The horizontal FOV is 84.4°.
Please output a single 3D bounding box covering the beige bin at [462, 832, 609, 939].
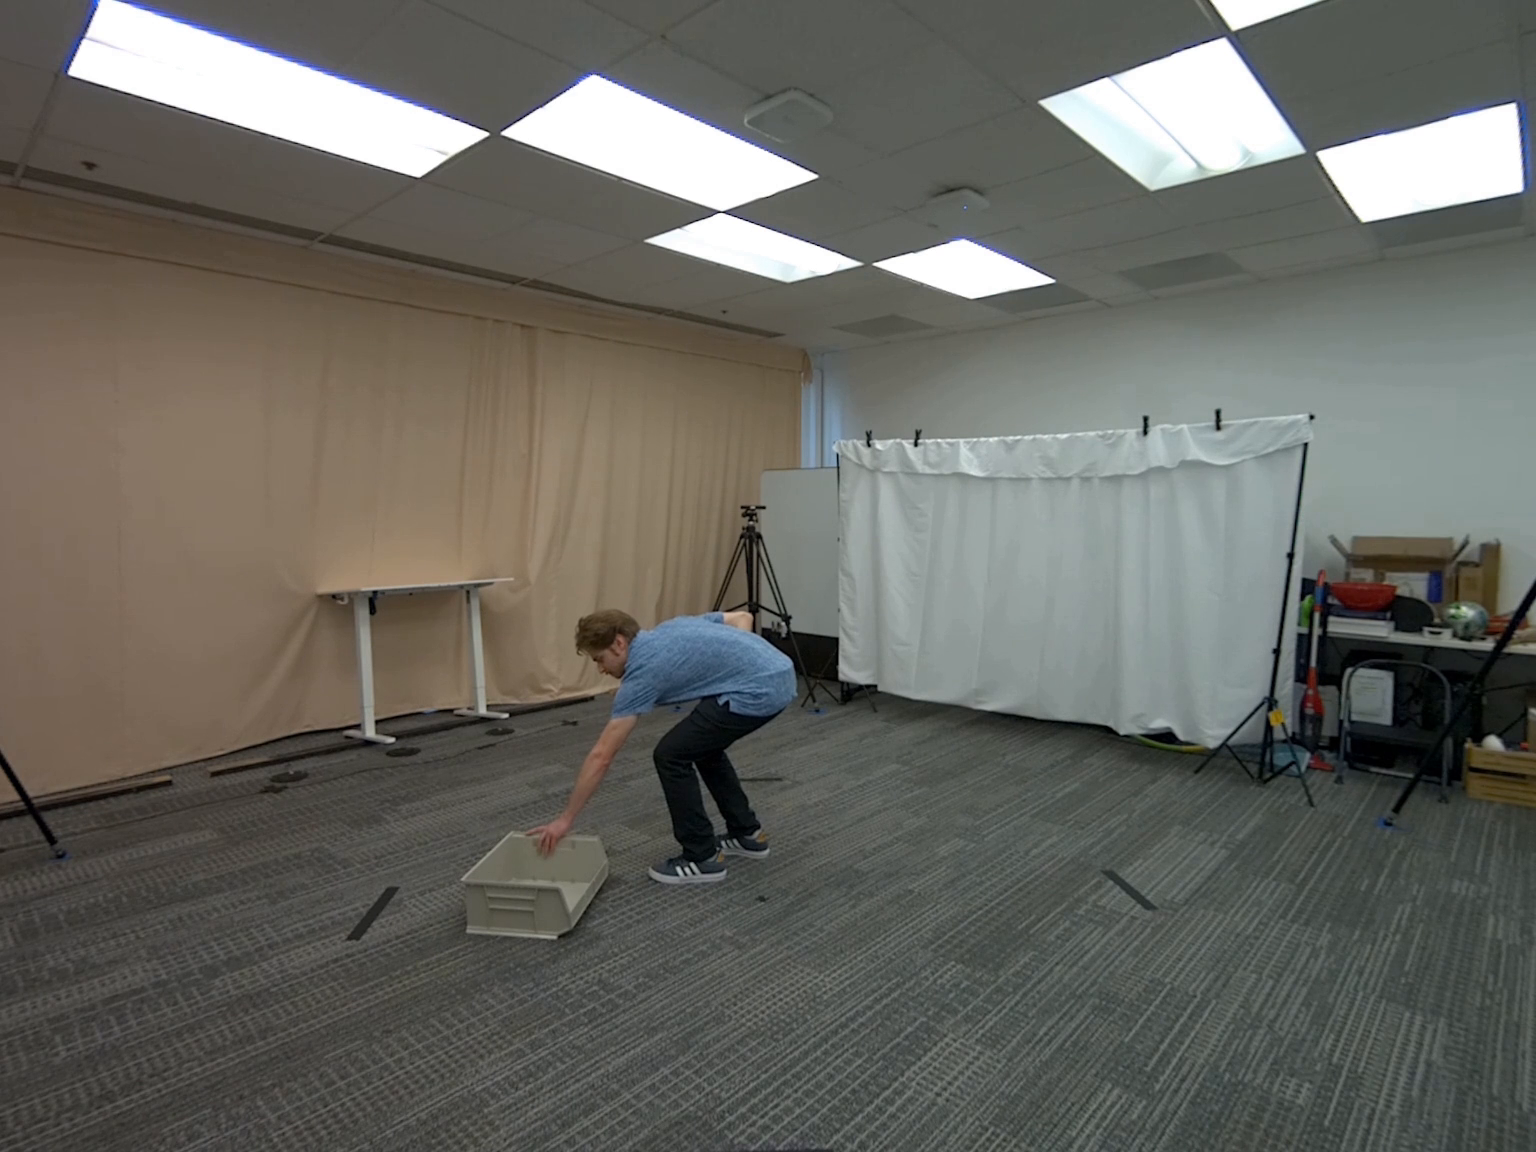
[{"bbox_3d":[-0.798,1.065,2.930,0.381,0.188,0.420,0,4,7],"label":"beige bin"}]
